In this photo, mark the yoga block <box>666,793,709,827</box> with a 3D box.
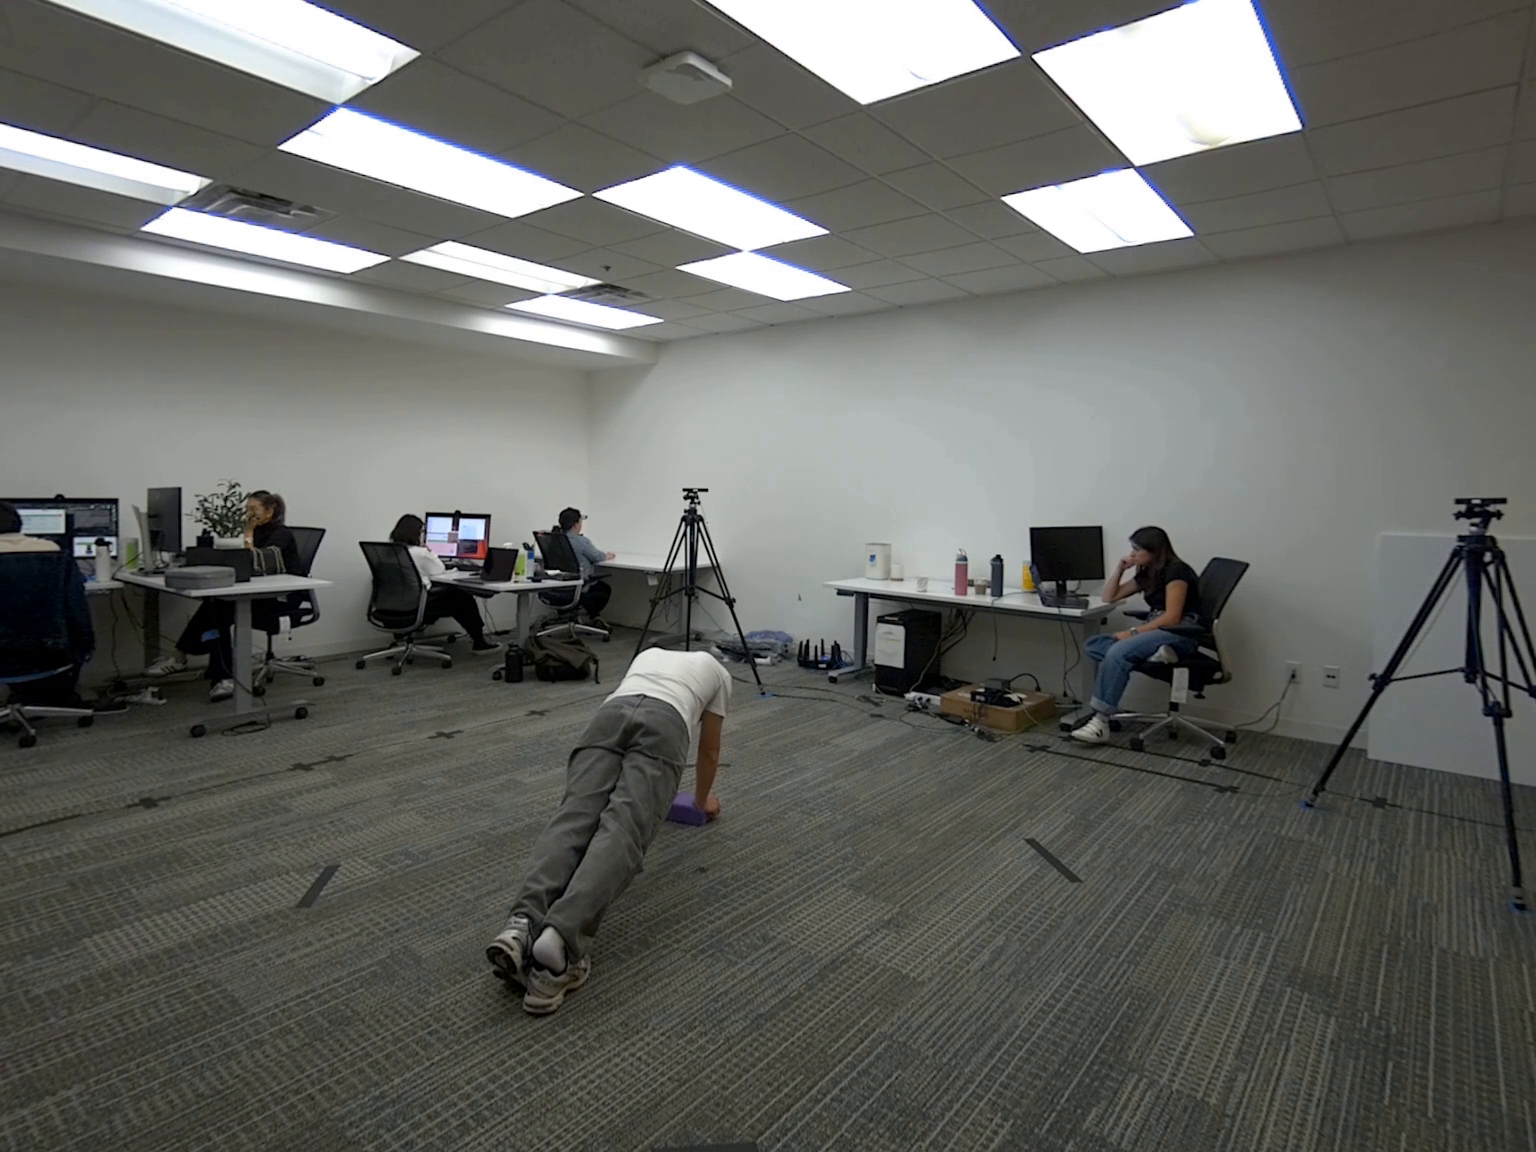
[{"bbox_3d":[-0.354,0.979,3.615,0.235,0.076,0.146,2,5,22],"label":"yoga block"}]
